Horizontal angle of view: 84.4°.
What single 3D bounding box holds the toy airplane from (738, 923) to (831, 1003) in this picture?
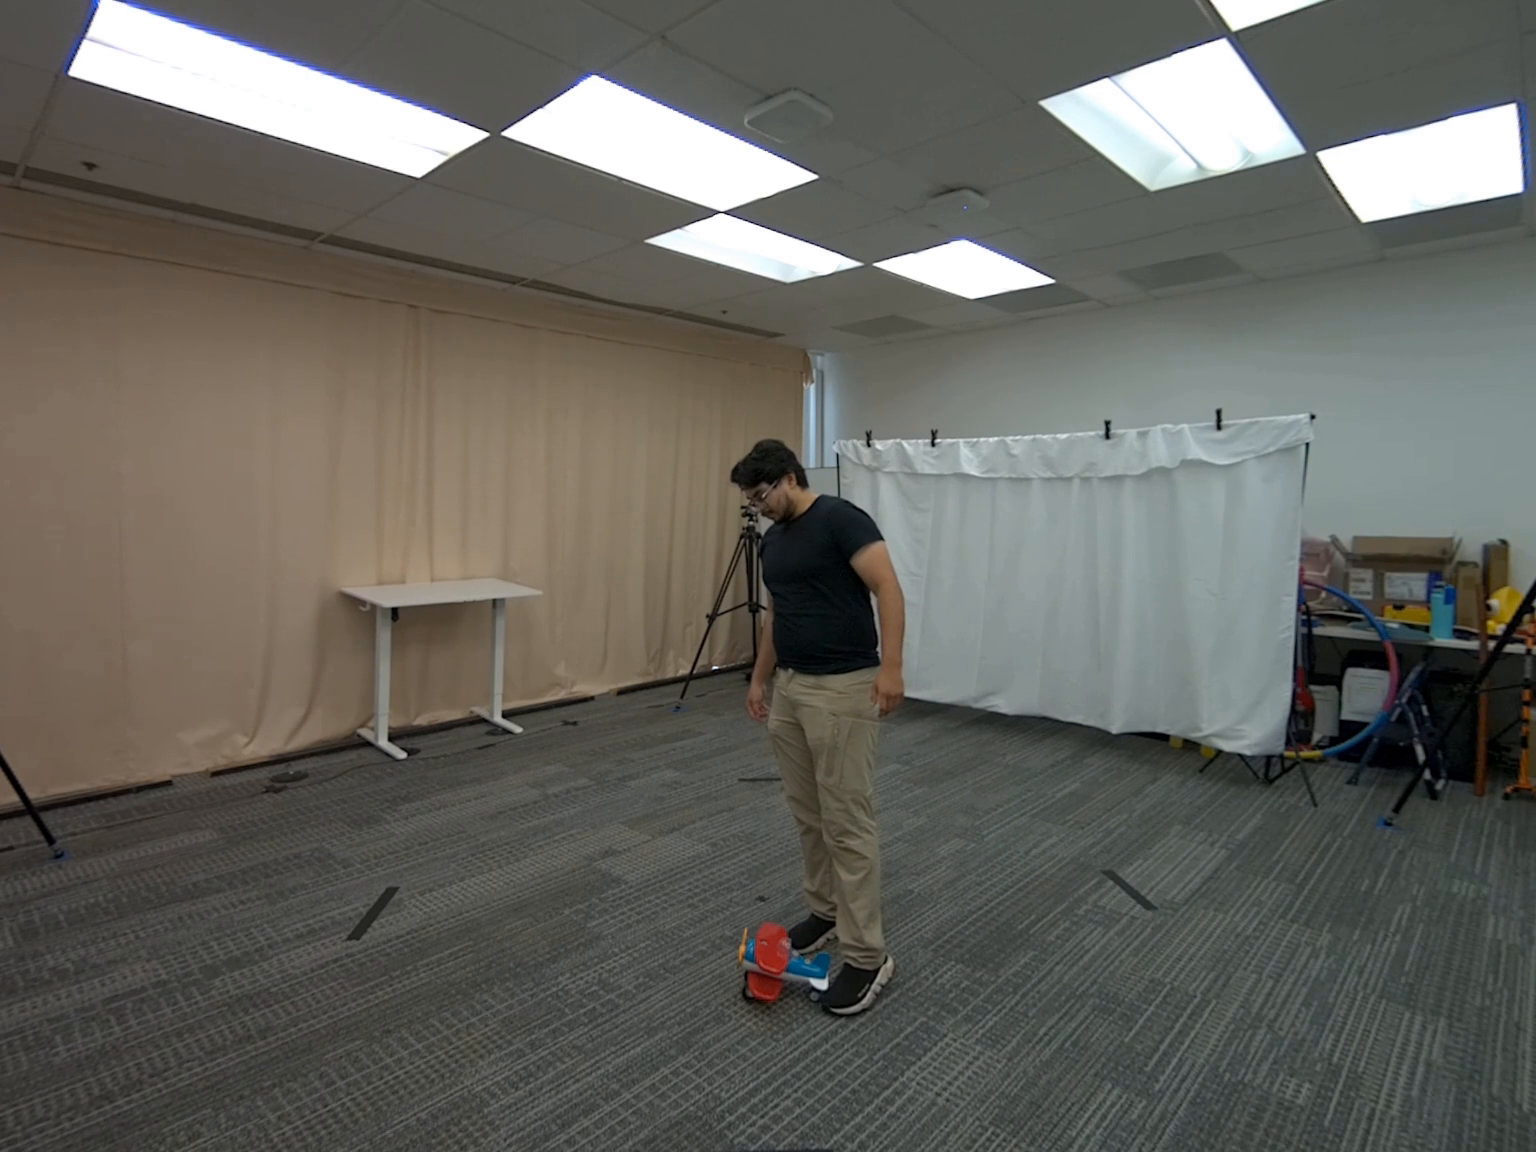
[{"bbox_3d":[0.046,1.121,2.420,0.254,0.156,0.257,-3,4,-22],"label":"toy airplane"}]
